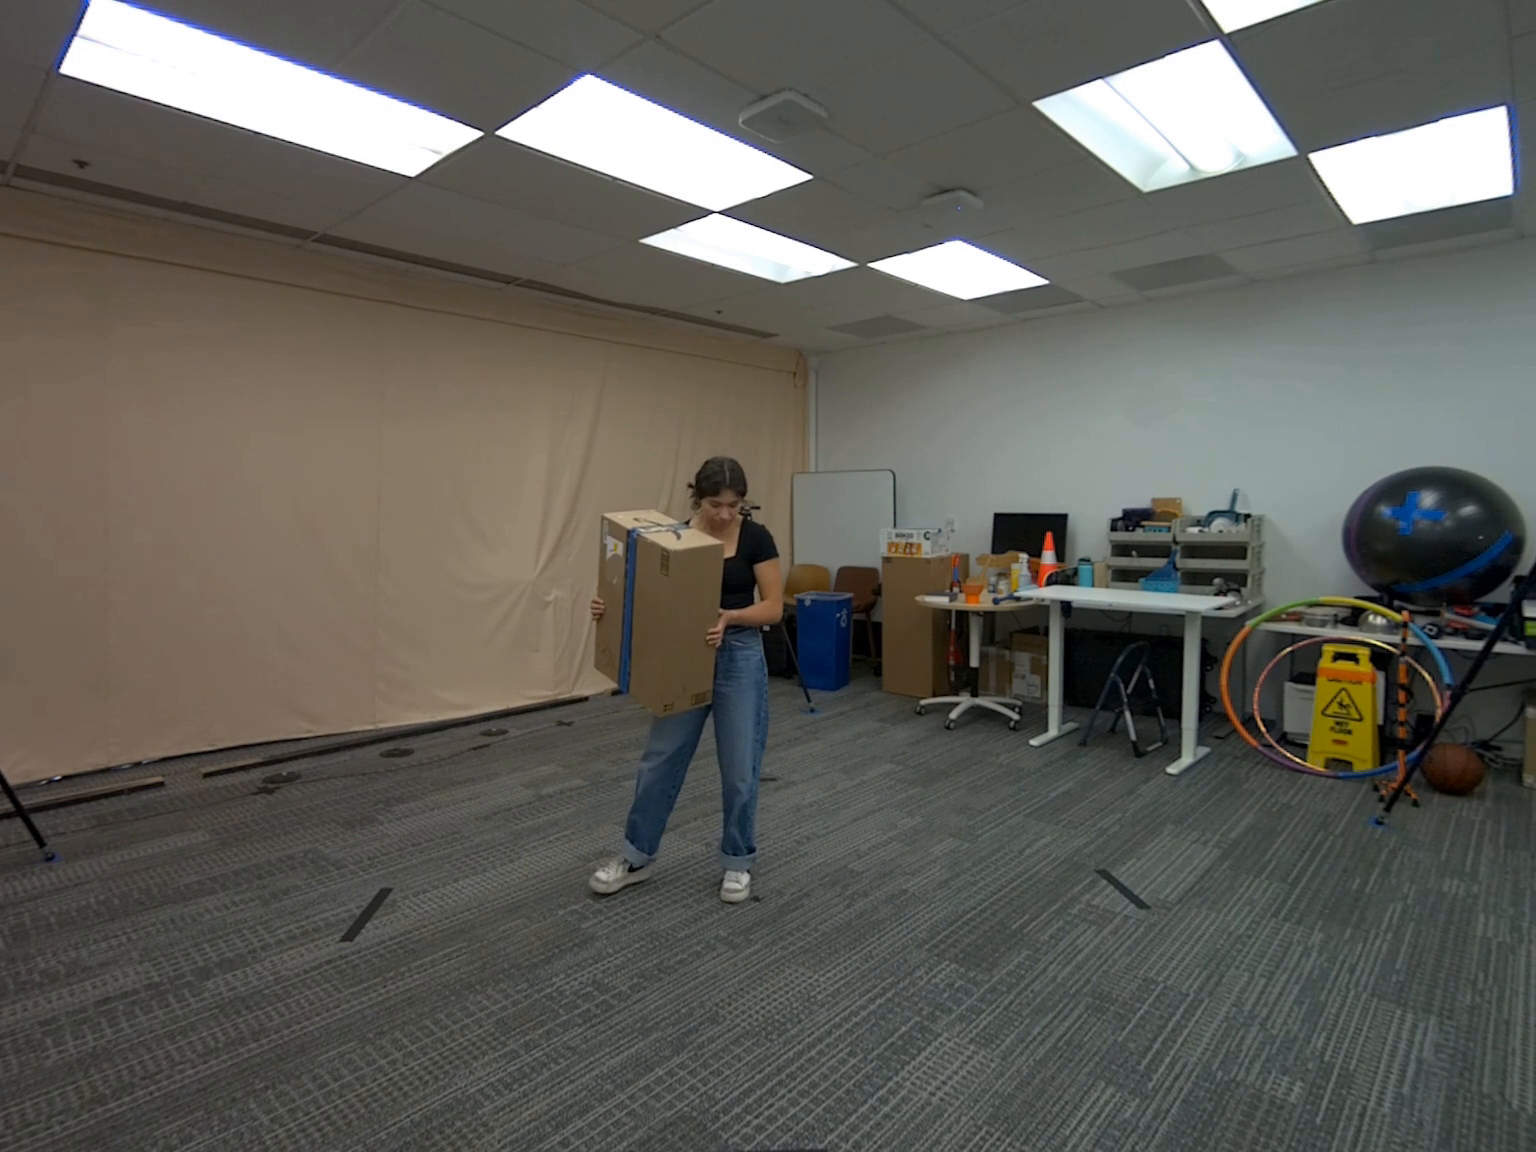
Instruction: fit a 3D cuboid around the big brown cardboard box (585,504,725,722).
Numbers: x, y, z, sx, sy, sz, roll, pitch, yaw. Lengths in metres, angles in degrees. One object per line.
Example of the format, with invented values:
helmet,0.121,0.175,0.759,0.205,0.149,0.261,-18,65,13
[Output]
big brown cardboard box,-0.387,0.105,2.818,0.226,0.584,0.433,-8,22,-40
